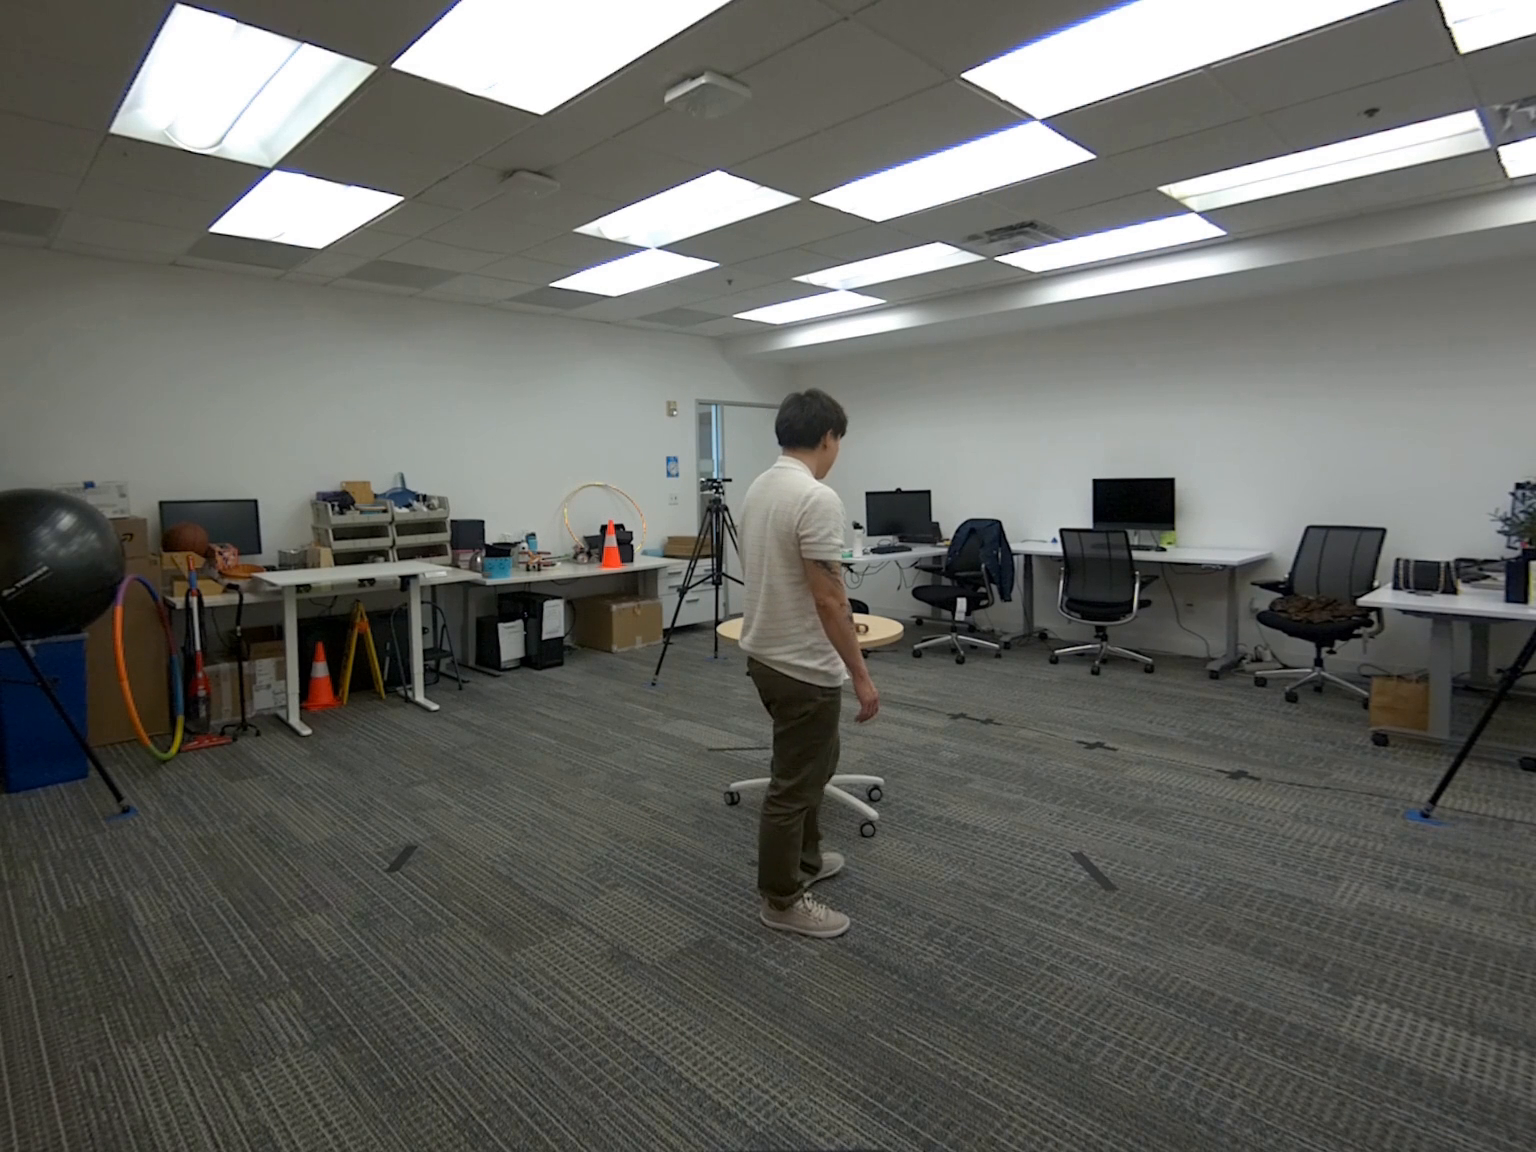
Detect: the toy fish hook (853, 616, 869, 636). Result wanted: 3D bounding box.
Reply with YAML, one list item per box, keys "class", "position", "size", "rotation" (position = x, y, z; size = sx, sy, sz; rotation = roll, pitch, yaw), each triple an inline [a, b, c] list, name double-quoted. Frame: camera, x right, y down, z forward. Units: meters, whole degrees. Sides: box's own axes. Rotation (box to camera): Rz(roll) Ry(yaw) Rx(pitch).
- class: "toy fish hook"
  position: [0.169, 0.210, 3.433]
  size: [0.521, 0.048, 0.221]
  rotation: [3, 15, 37]
